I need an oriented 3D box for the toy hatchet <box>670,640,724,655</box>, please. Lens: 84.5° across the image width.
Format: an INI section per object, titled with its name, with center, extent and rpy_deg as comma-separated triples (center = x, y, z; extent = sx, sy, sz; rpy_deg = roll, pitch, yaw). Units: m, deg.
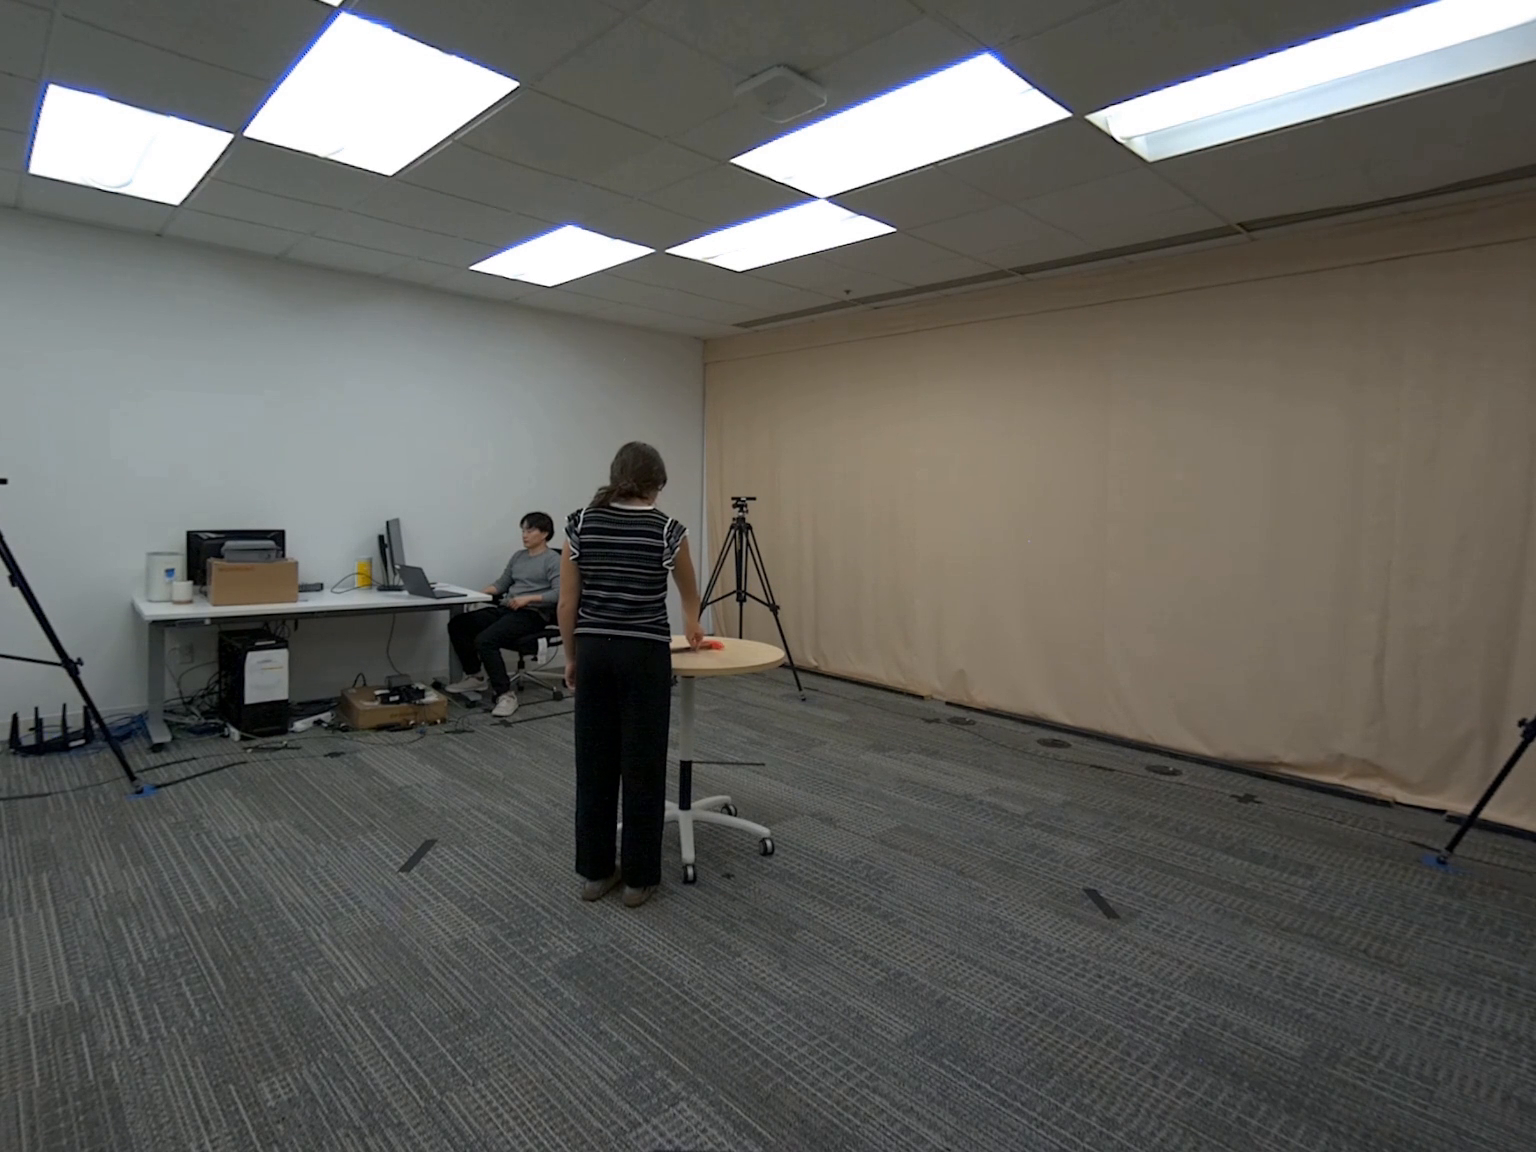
[toy hatchet]
center = -0.324, 0.283, 3.365
extent = 0.265, 0.029, 0.134
rpy_deg = -2, 11, -25
